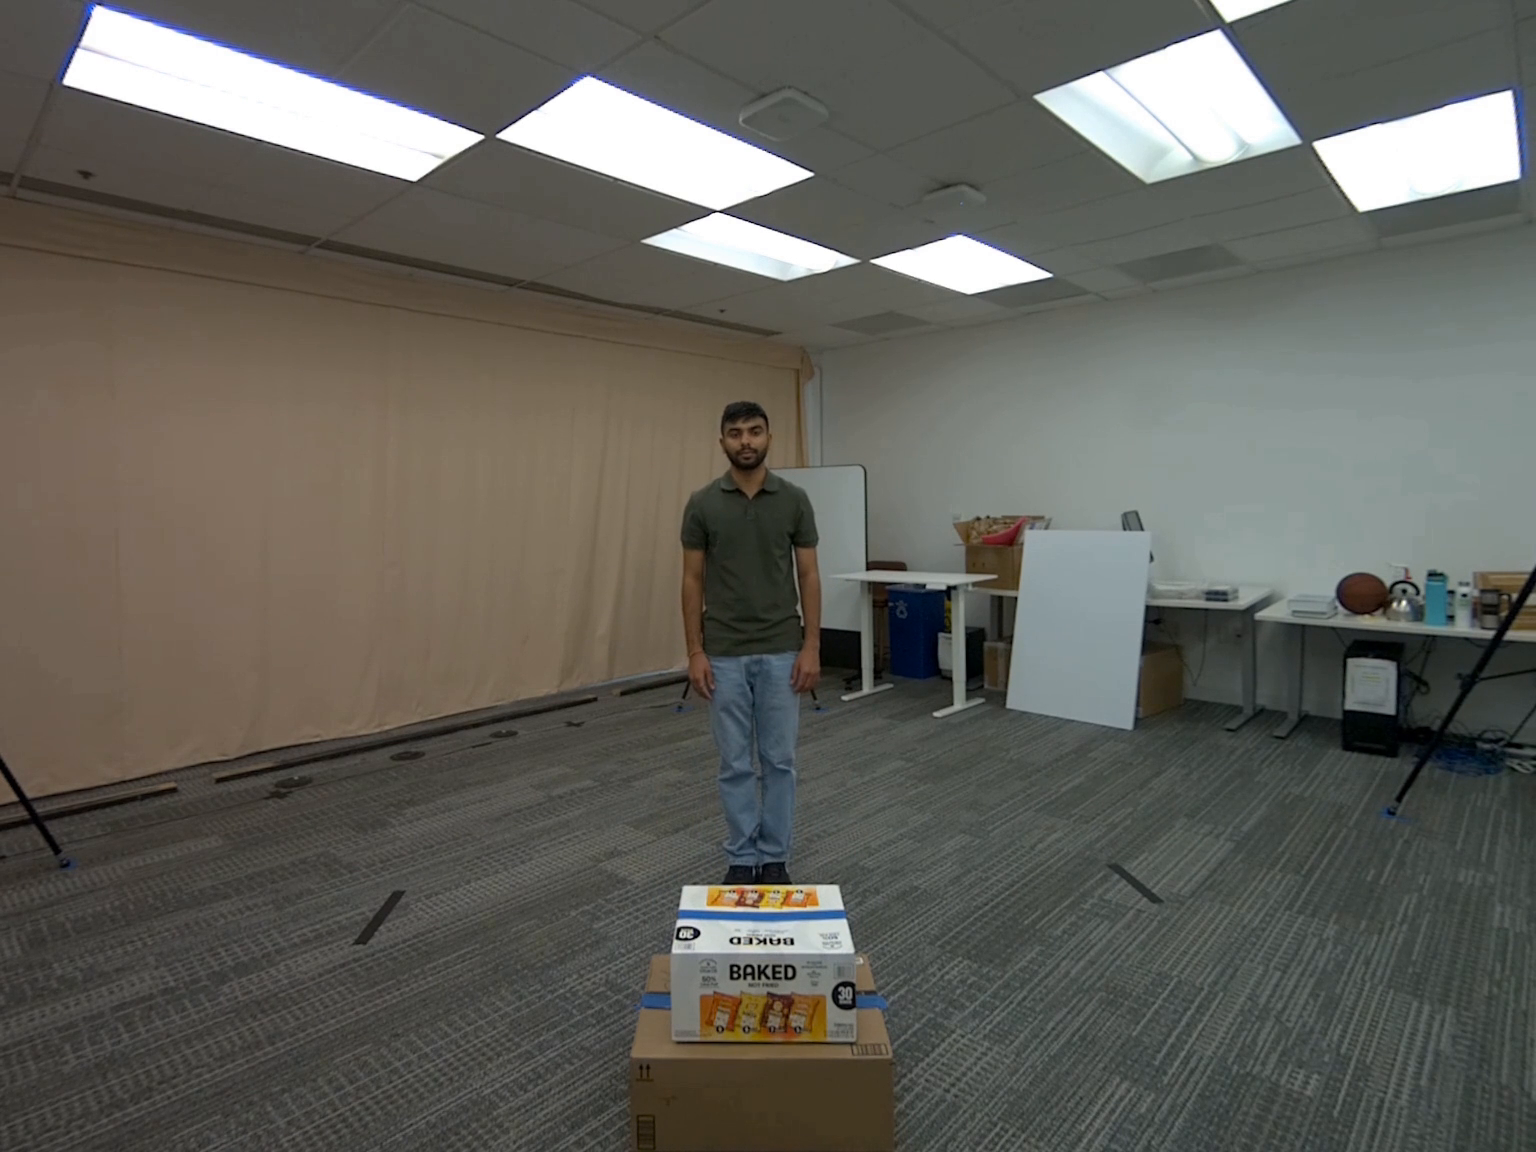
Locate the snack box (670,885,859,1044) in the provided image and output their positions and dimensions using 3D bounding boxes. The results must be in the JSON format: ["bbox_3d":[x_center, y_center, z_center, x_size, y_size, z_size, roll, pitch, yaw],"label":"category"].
[{"bbox_3d":[-0.008,0.904,2.001,0.406,0.205,0.340,-1,3,0],"label":"snack box"}]
